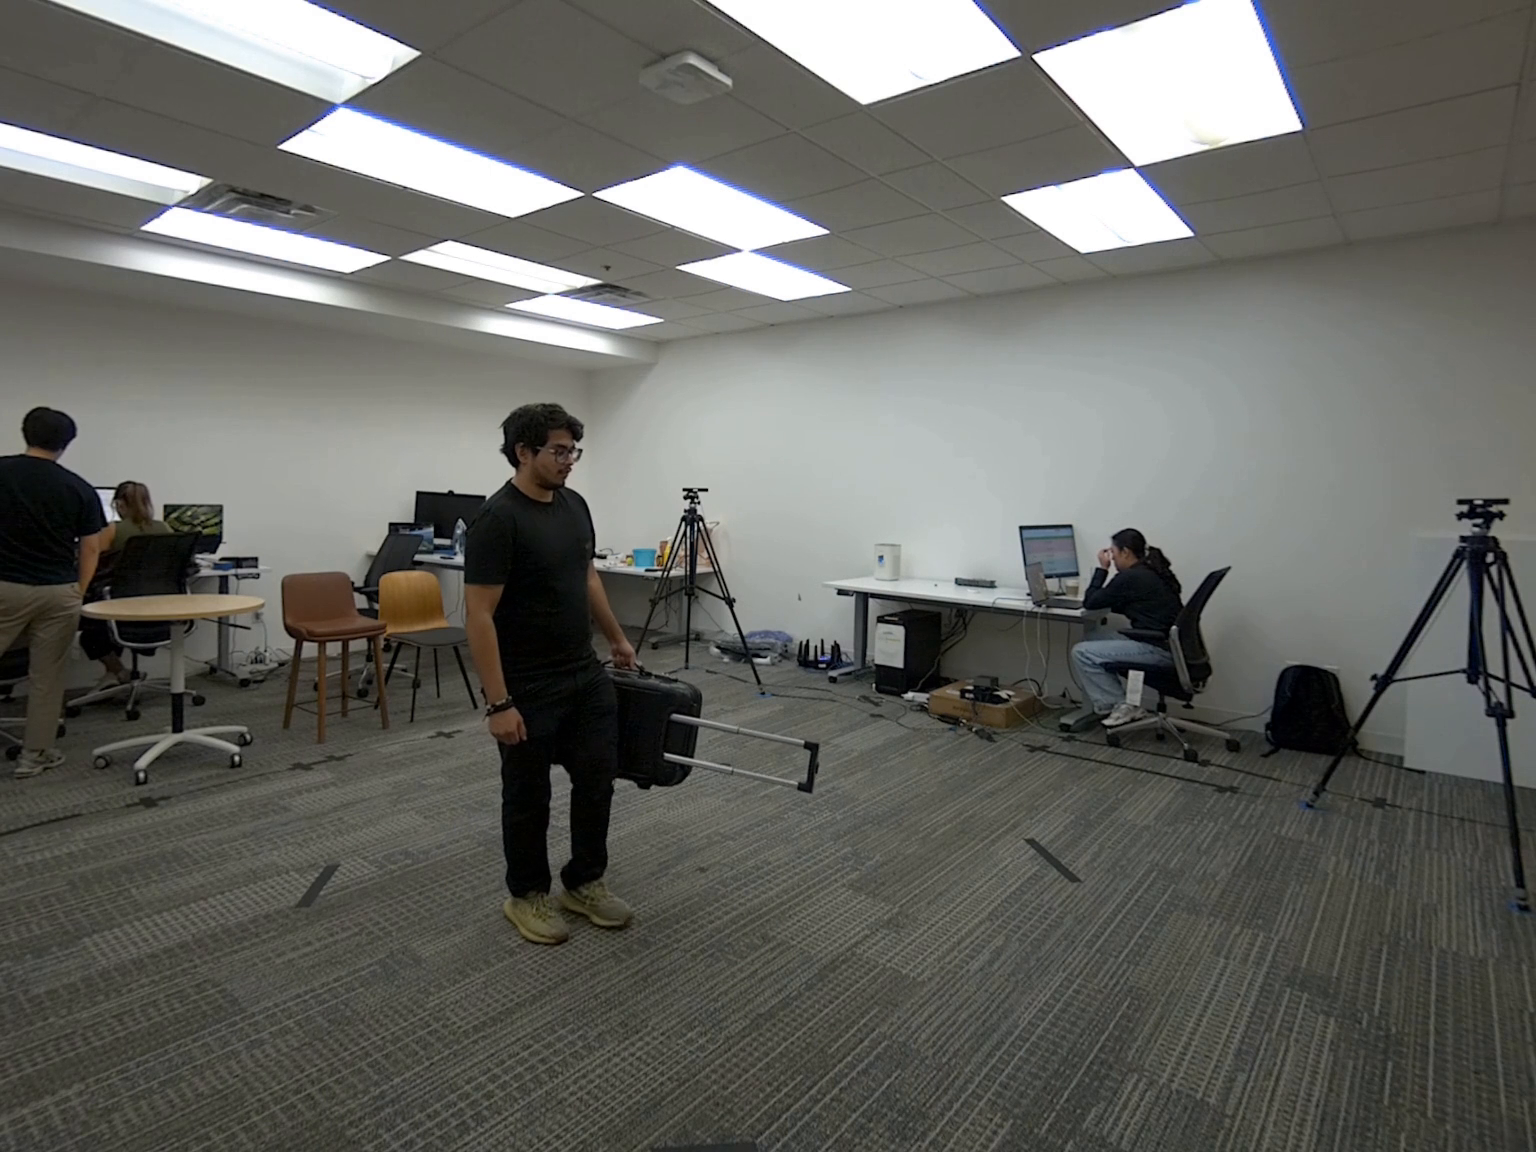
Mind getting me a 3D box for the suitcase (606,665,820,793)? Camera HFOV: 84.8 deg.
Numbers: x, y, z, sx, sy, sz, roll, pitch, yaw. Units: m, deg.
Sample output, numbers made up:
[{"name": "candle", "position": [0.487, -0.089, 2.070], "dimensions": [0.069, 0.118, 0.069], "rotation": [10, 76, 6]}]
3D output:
[{"name": "suitcase", "position": [-0.316, 0.539, 2.917], "dimensions": [0.995, 0.386, 0.251], "rotation": [7, -6, 14]}]
